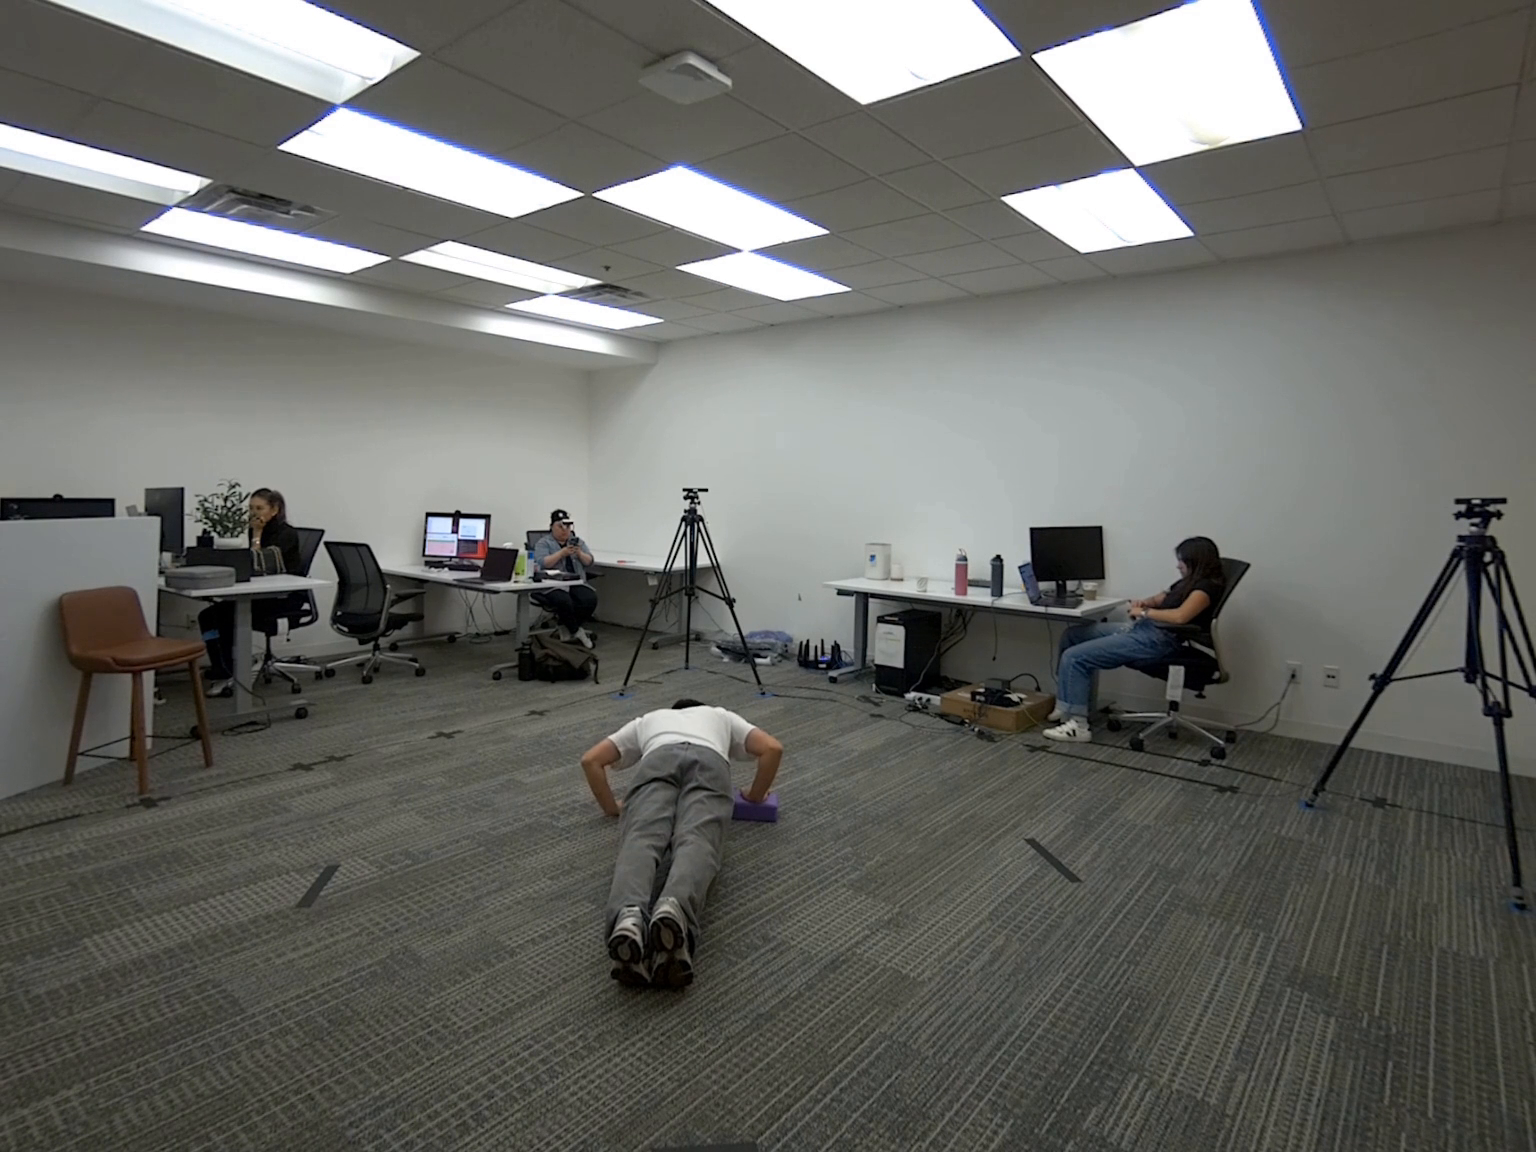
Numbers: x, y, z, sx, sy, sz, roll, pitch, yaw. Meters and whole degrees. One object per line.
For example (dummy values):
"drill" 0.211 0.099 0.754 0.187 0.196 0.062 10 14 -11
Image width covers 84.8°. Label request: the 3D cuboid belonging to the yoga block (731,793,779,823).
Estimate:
"yoga block" -0.065 0.983 3.650 0.232 0.076 0.148 1 6 9
